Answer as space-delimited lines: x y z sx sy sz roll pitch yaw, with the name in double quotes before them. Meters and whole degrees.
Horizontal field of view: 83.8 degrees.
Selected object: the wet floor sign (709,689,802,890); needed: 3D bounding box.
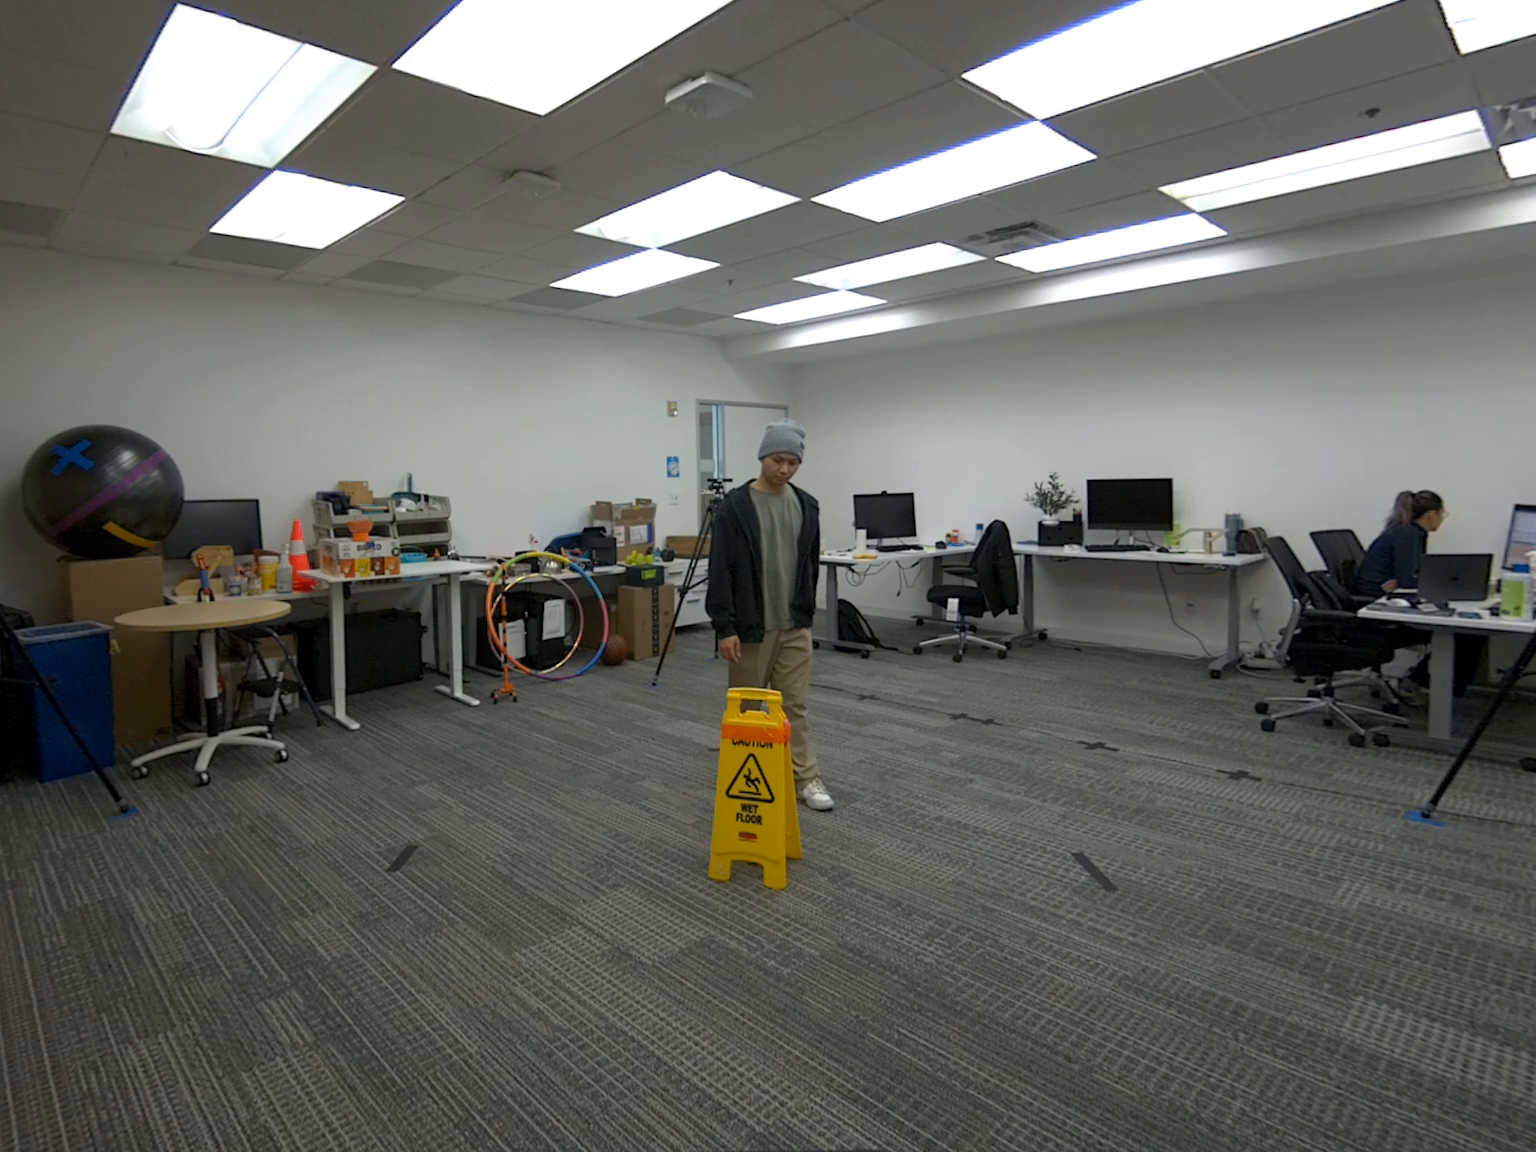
"wet floor sign" -0.049 0.729 3.045 0.287 0.644 0.286 -1 4 17
